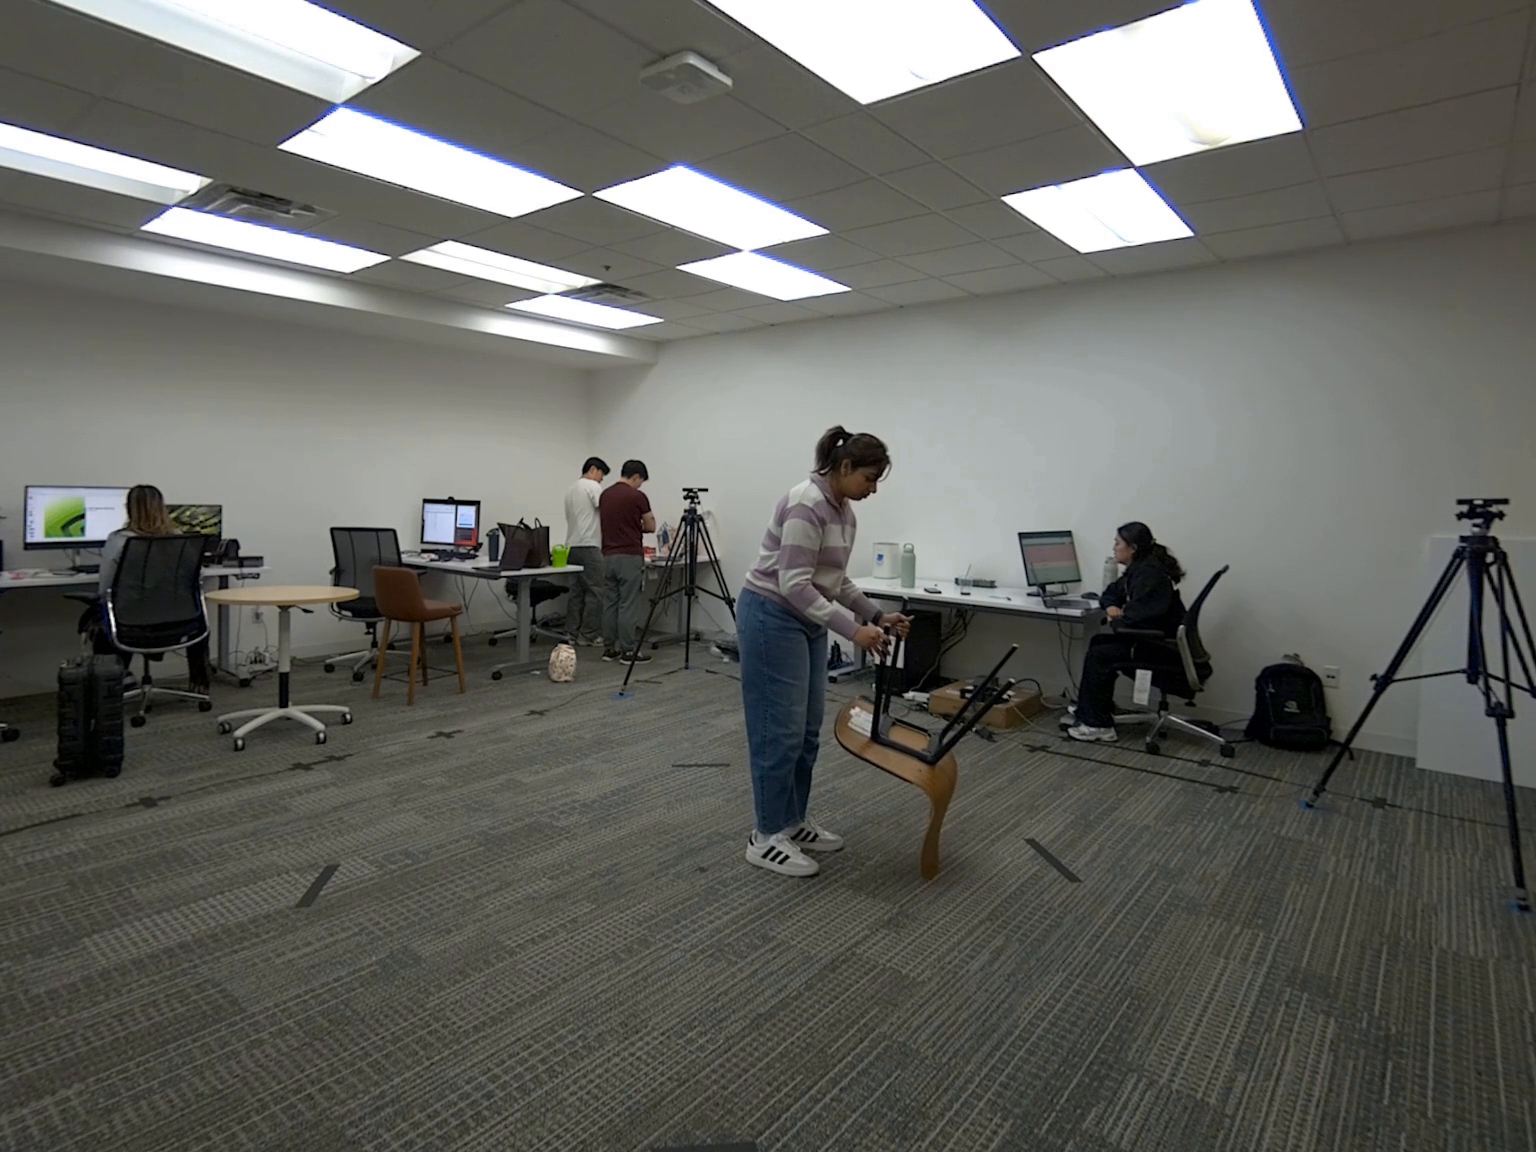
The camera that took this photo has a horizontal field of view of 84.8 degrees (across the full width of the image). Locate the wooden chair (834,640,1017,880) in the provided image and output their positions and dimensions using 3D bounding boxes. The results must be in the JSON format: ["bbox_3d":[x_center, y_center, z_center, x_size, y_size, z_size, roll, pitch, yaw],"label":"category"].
[{"bbox_3d":[0.504,0.592,3.149,0.534,0.869,0.473,20,16,15],"label":"wooden chair"}]
